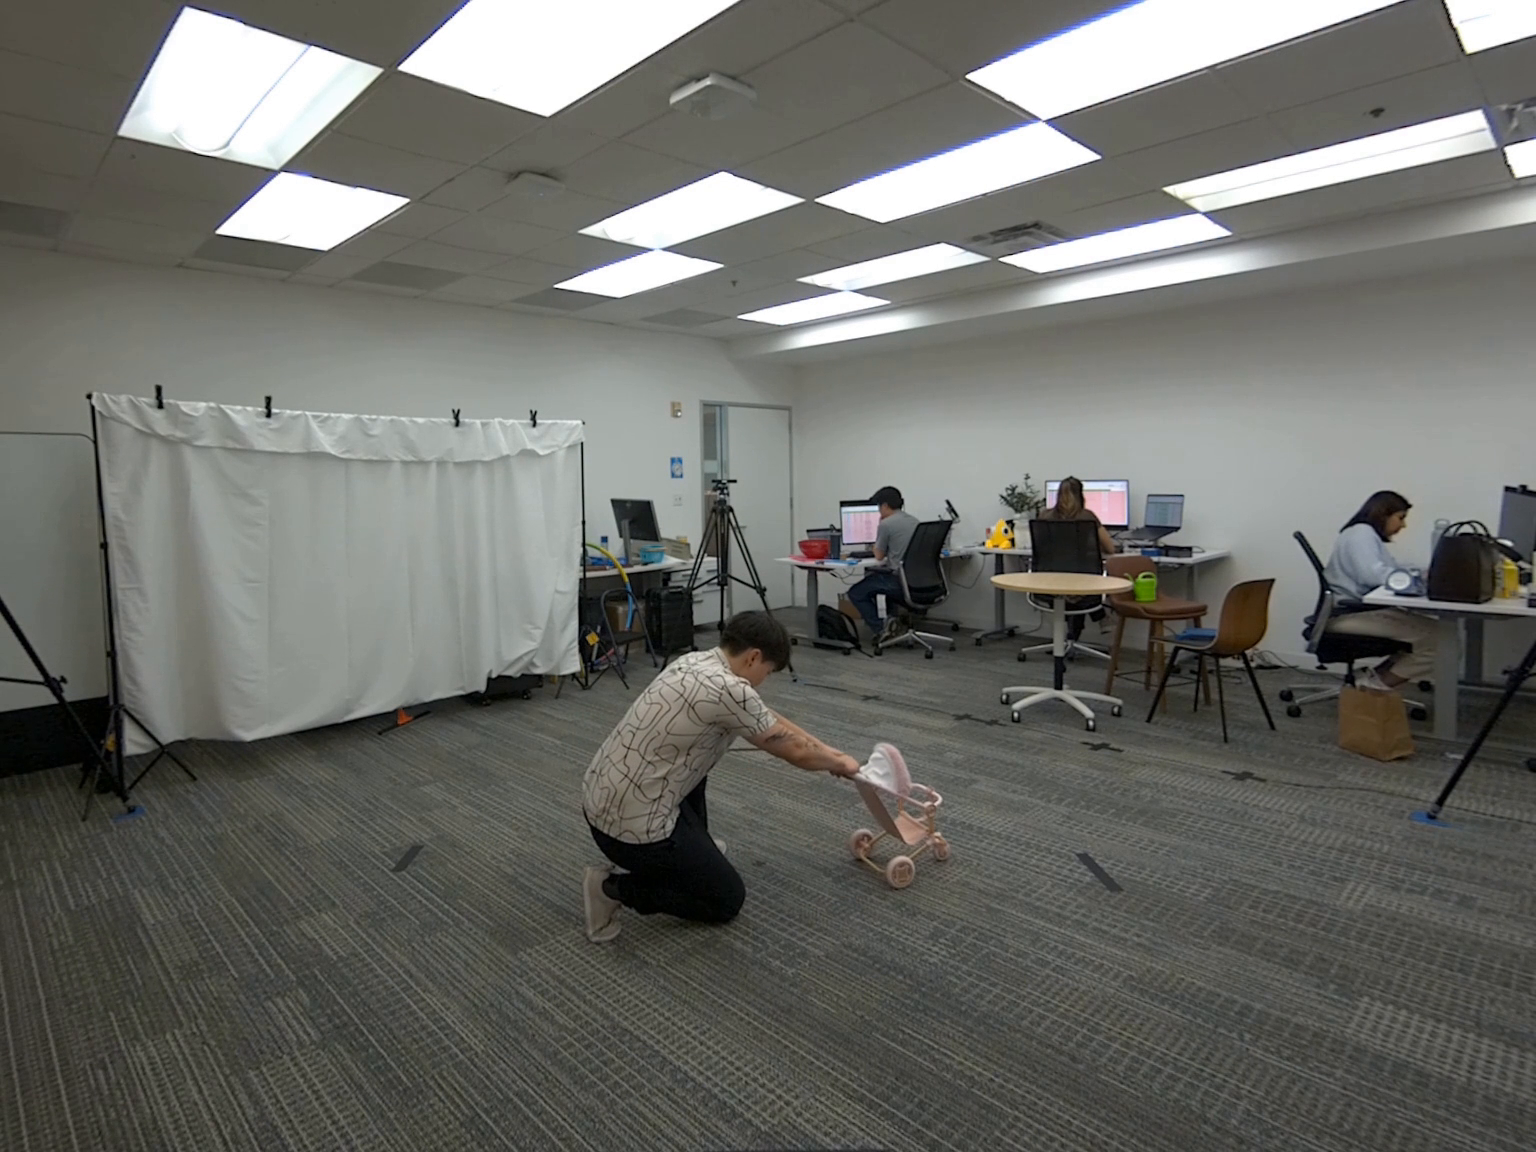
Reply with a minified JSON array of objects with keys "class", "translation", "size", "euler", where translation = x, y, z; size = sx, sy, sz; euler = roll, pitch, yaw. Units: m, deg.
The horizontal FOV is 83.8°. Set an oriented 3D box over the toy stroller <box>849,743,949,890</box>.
[{"class":"toy stroller","translation":[0.448,0.820,3.024],"size":[0.338,0.529,0.287],"euler":[-20,10,-18]}]
